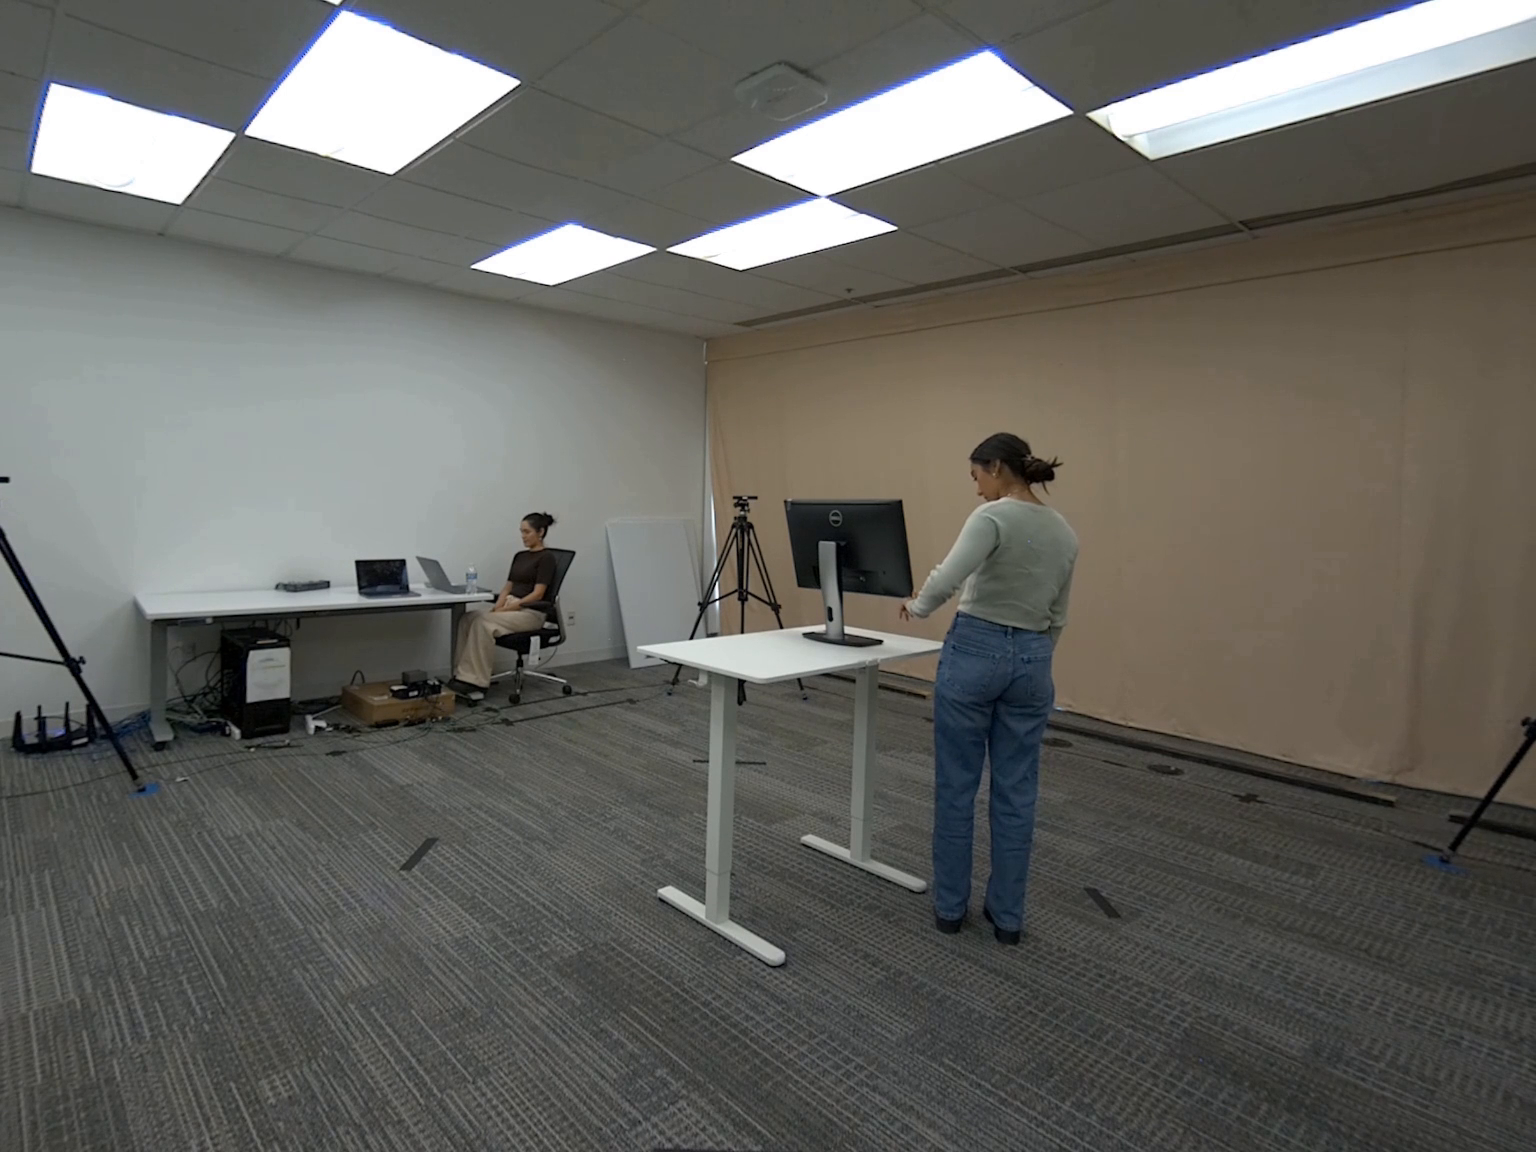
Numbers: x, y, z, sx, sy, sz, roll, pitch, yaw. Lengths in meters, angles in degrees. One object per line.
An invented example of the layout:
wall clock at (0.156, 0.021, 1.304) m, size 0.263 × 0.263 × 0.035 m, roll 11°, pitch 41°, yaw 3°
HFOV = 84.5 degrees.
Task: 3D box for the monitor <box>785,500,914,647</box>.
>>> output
monitor at (0.257, -0.014, 3.044) m, size 0.553 × 0.521 × 0.183 m, roll 4°, pitch 6°, yaw 44°
